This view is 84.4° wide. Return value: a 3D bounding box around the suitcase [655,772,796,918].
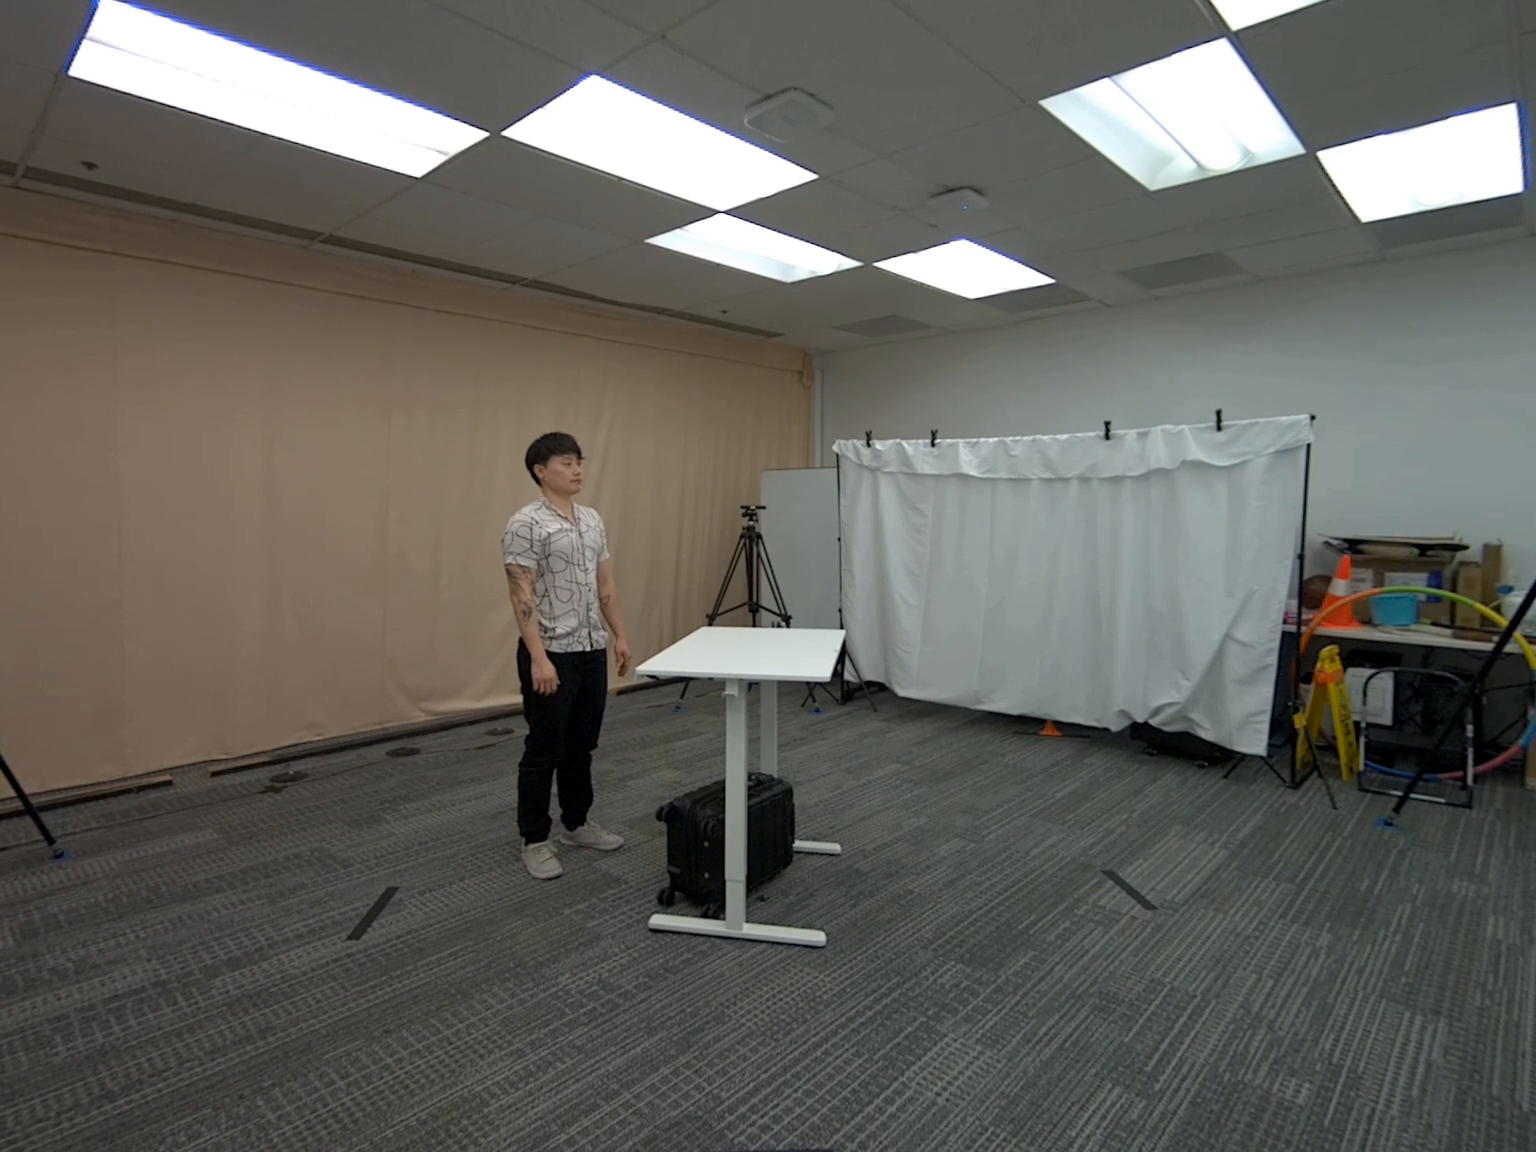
[{"bbox_3d":[-0.133,0.938,3.069,0.256,0.374,0.533,2,5,36],"label":"suitcase"}]
